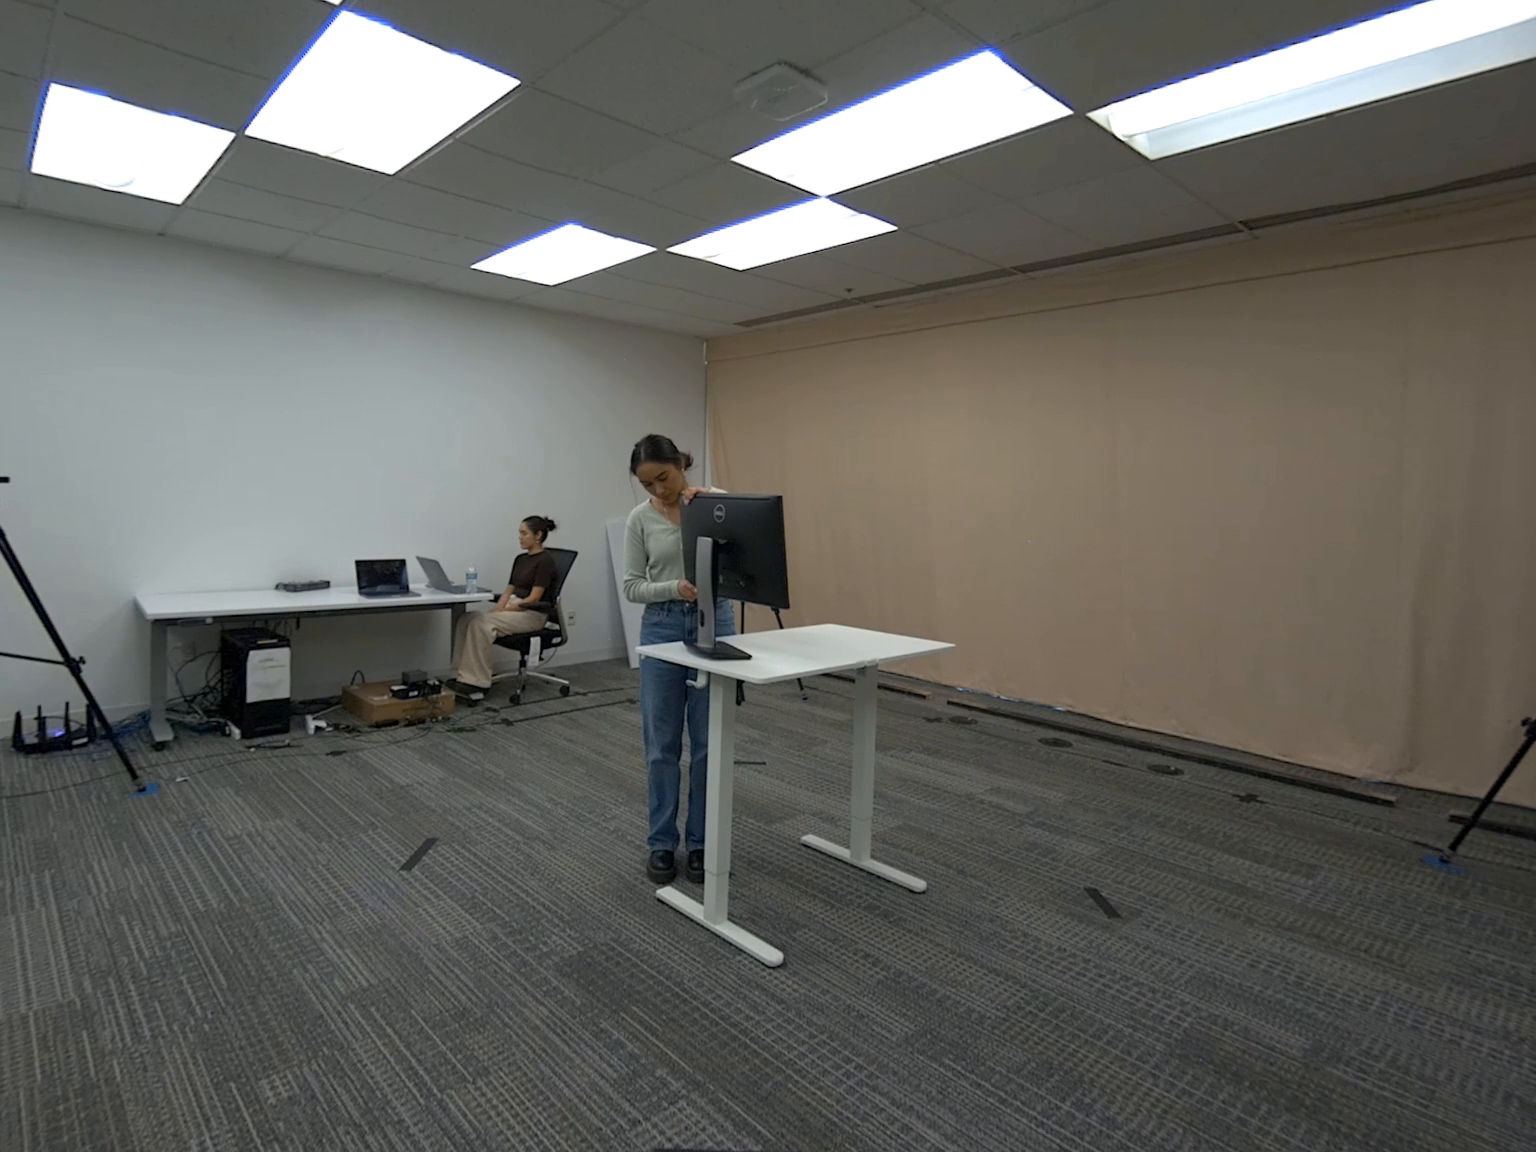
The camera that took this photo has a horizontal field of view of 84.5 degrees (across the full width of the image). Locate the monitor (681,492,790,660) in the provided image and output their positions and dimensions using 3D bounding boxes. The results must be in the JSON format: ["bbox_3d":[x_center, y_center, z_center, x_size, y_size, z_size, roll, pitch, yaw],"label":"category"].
[{"bbox_3d":[-0.172,-0.006,2.732,0.182,0.522,0.553,5,2,-40],"label":"monitor"}]
